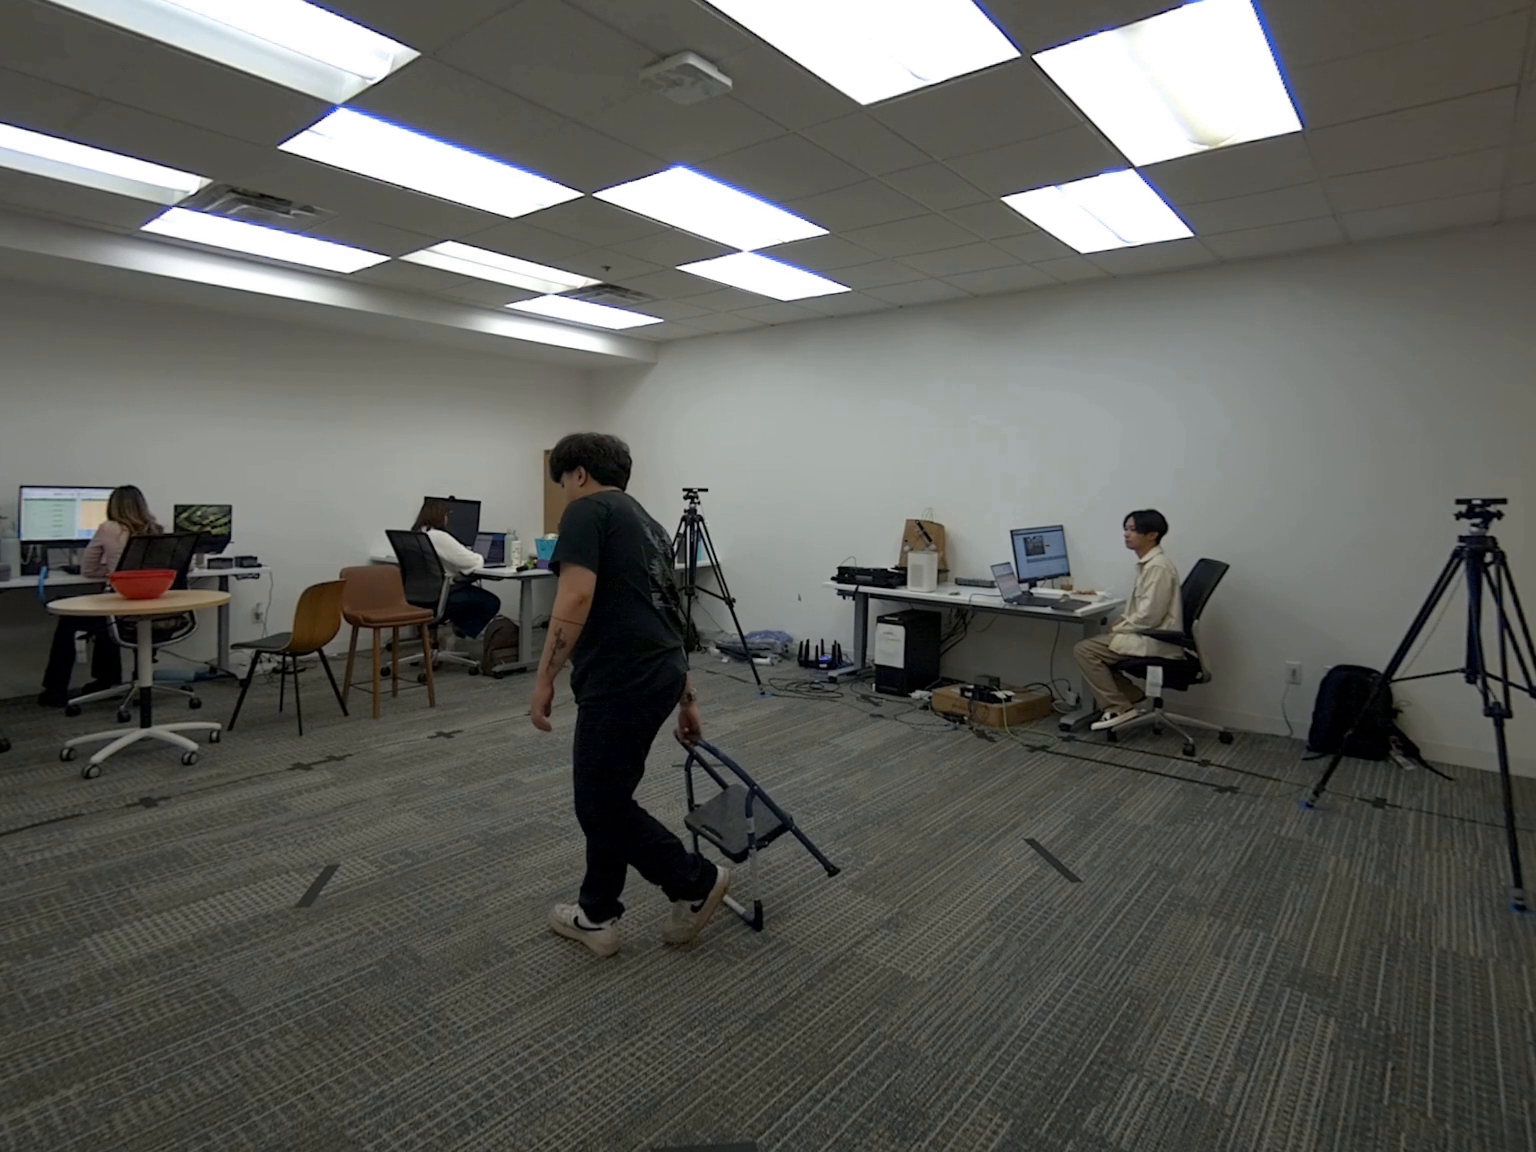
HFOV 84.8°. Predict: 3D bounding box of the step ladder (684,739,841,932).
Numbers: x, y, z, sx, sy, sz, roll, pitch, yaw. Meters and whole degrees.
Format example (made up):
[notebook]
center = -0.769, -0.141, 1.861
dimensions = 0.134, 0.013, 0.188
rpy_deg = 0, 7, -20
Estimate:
[step ladder]
center = -0.108, 0.754, 2.855
dimensions = 0.345, 0.595, 0.444
rpy_deg = -27, 17, -29
